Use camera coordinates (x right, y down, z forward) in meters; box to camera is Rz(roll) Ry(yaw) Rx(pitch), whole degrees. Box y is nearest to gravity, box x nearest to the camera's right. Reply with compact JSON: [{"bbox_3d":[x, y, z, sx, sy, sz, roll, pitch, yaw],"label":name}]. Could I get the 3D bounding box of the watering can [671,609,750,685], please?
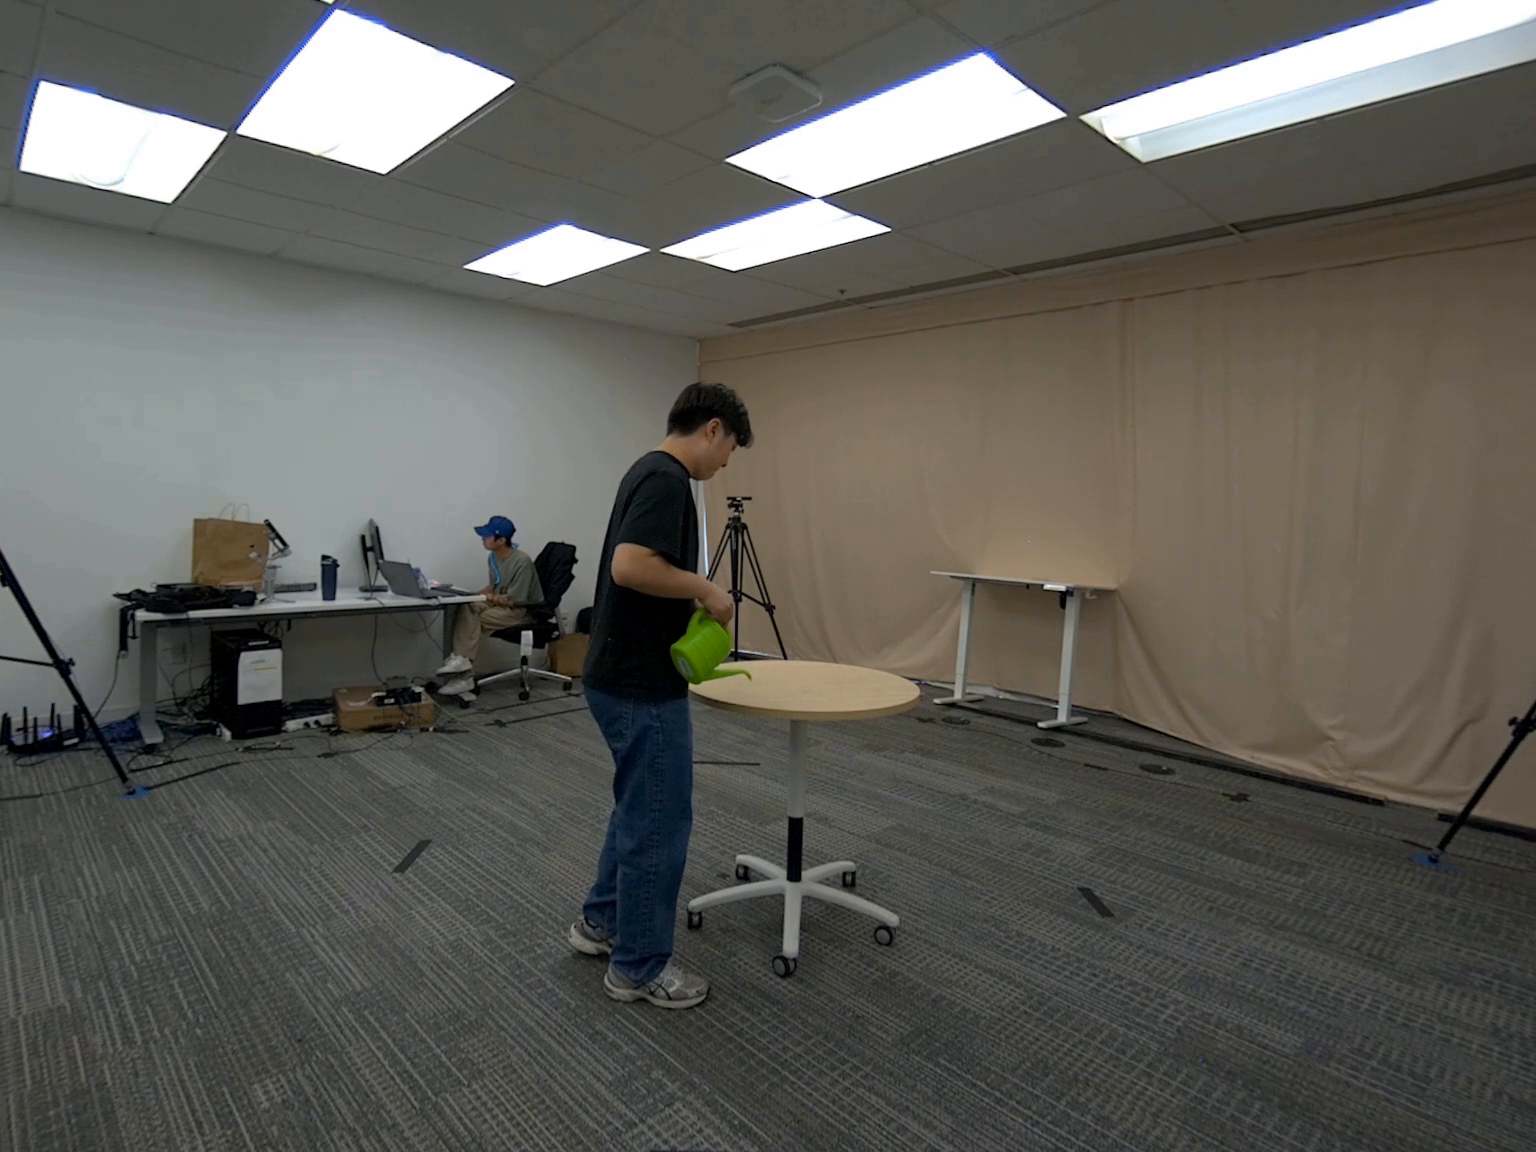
[{"bbox_3d":[-0.153,0.228,2.210,0.176,0.274,0.100,-42,17,-33],"label":"watering can"}]
